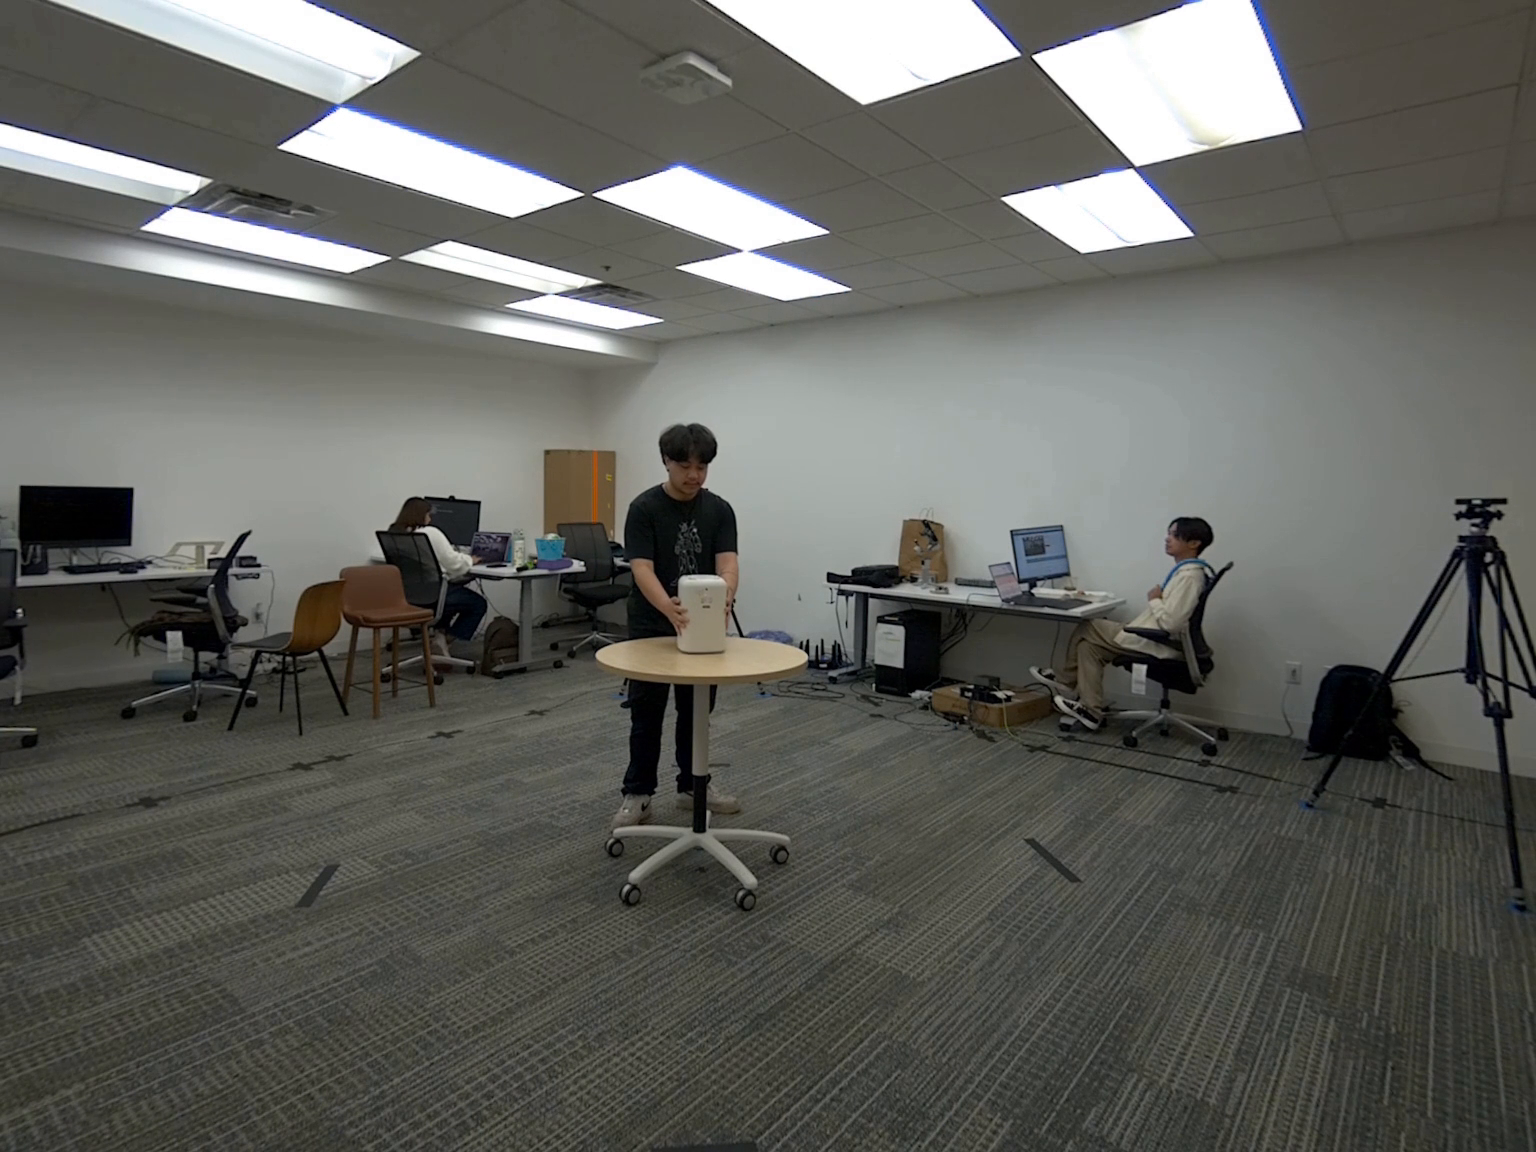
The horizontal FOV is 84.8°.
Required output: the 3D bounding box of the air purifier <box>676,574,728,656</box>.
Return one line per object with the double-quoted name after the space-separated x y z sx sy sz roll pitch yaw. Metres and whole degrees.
-0.253 0.131 3.142 0.169 0.264 0.174 0 6 -11 "air purifier"
